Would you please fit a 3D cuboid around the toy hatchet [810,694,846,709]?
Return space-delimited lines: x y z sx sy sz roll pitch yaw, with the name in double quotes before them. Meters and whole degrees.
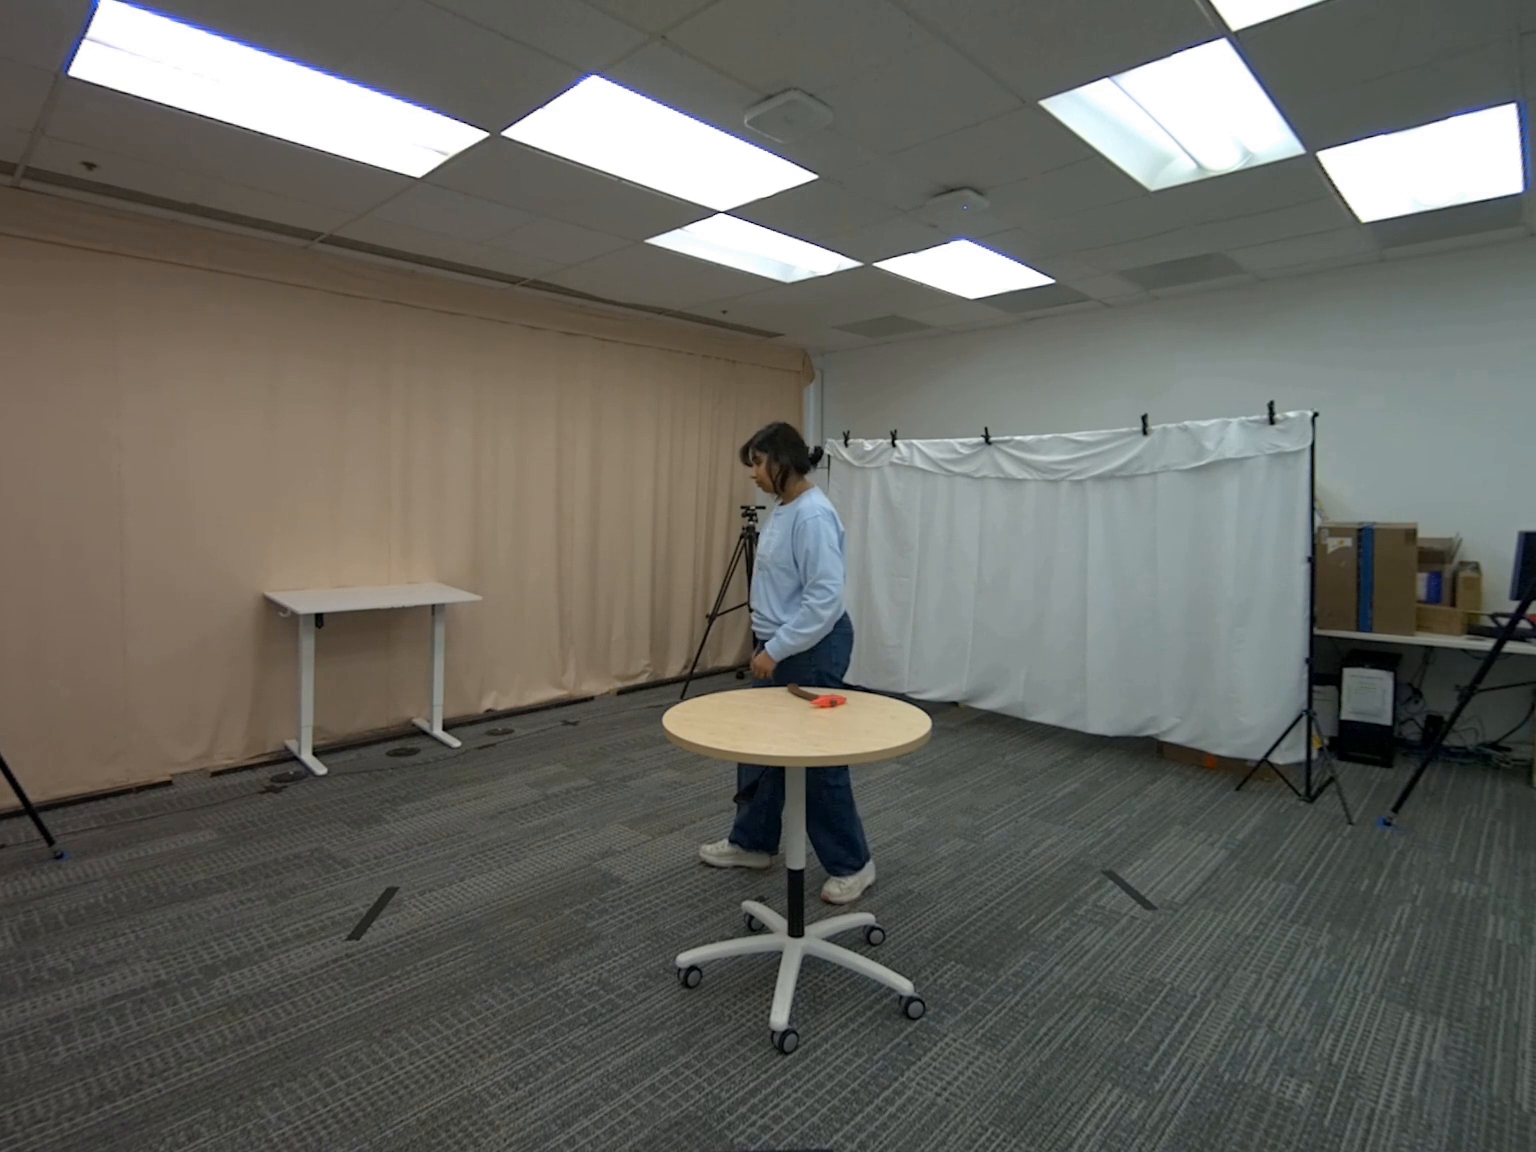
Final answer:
"toy hatchet" 0.177 0.372 2.654 0.129 0.029 0.274 -2 4 -13
